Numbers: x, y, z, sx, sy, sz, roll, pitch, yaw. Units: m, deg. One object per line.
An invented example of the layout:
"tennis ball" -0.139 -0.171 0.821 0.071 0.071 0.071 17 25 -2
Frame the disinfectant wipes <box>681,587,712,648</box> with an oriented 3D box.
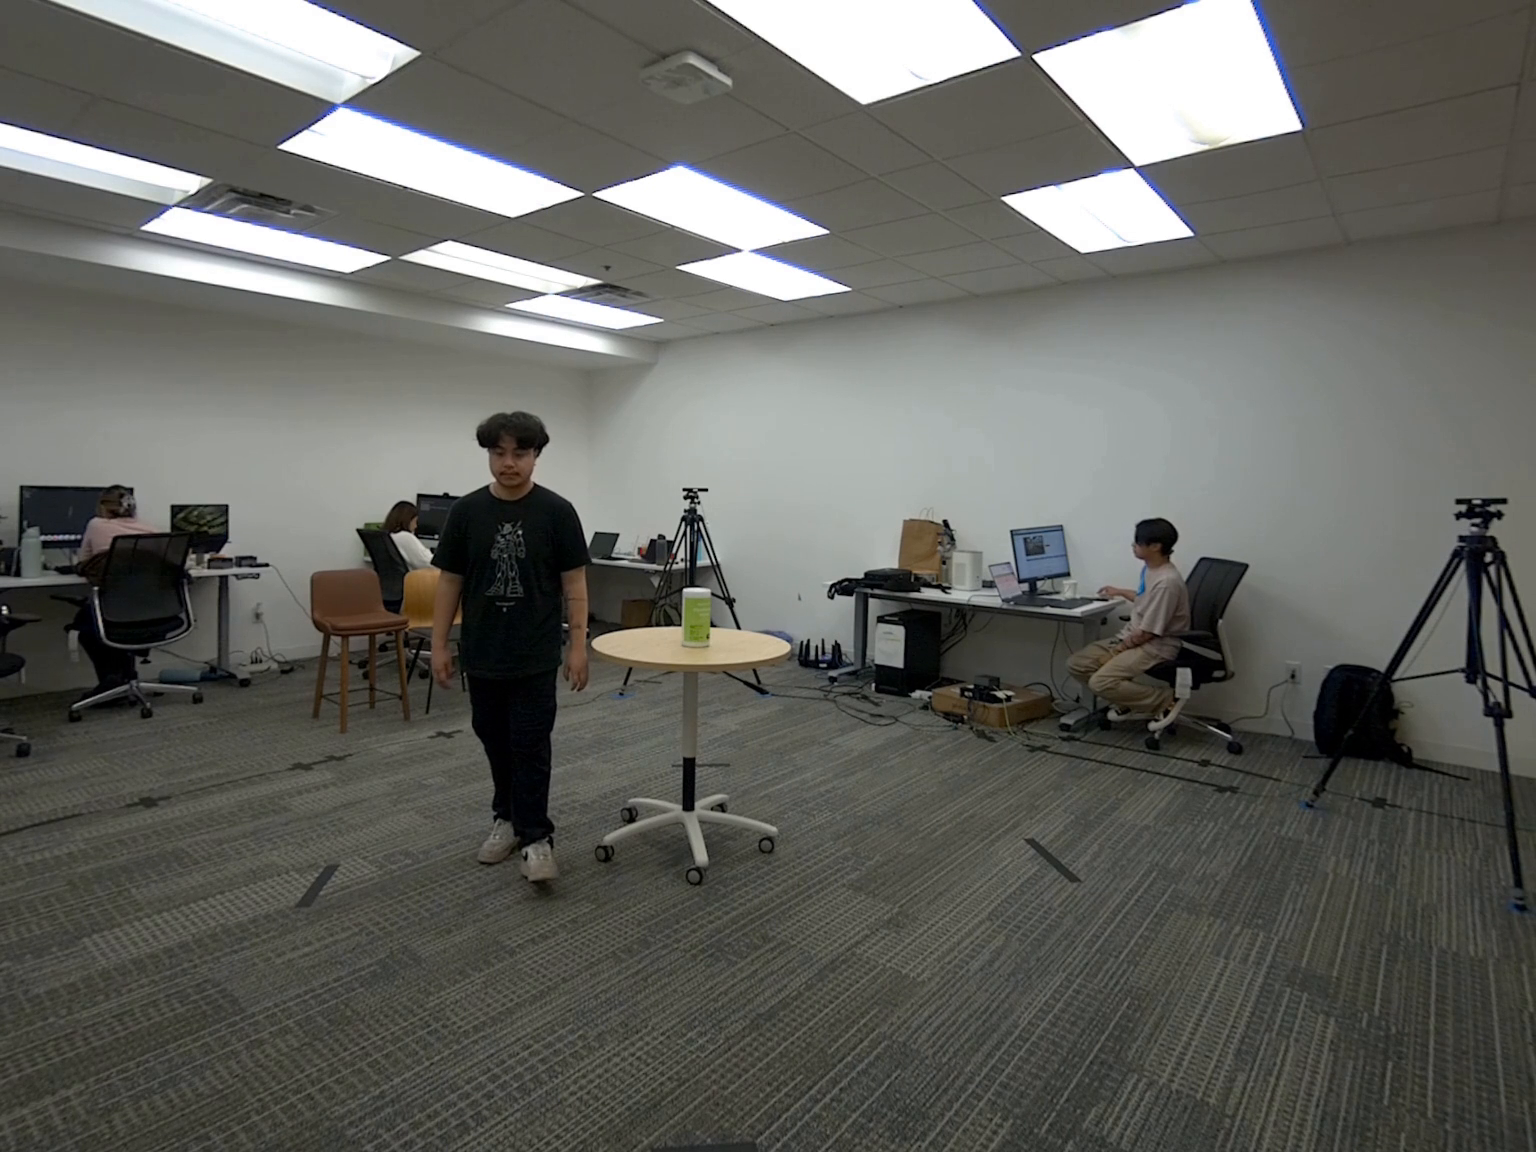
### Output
"disinfectant wipes" -0.289 0.159 3.242 0.117 0.217 0.118 2 4 -2
